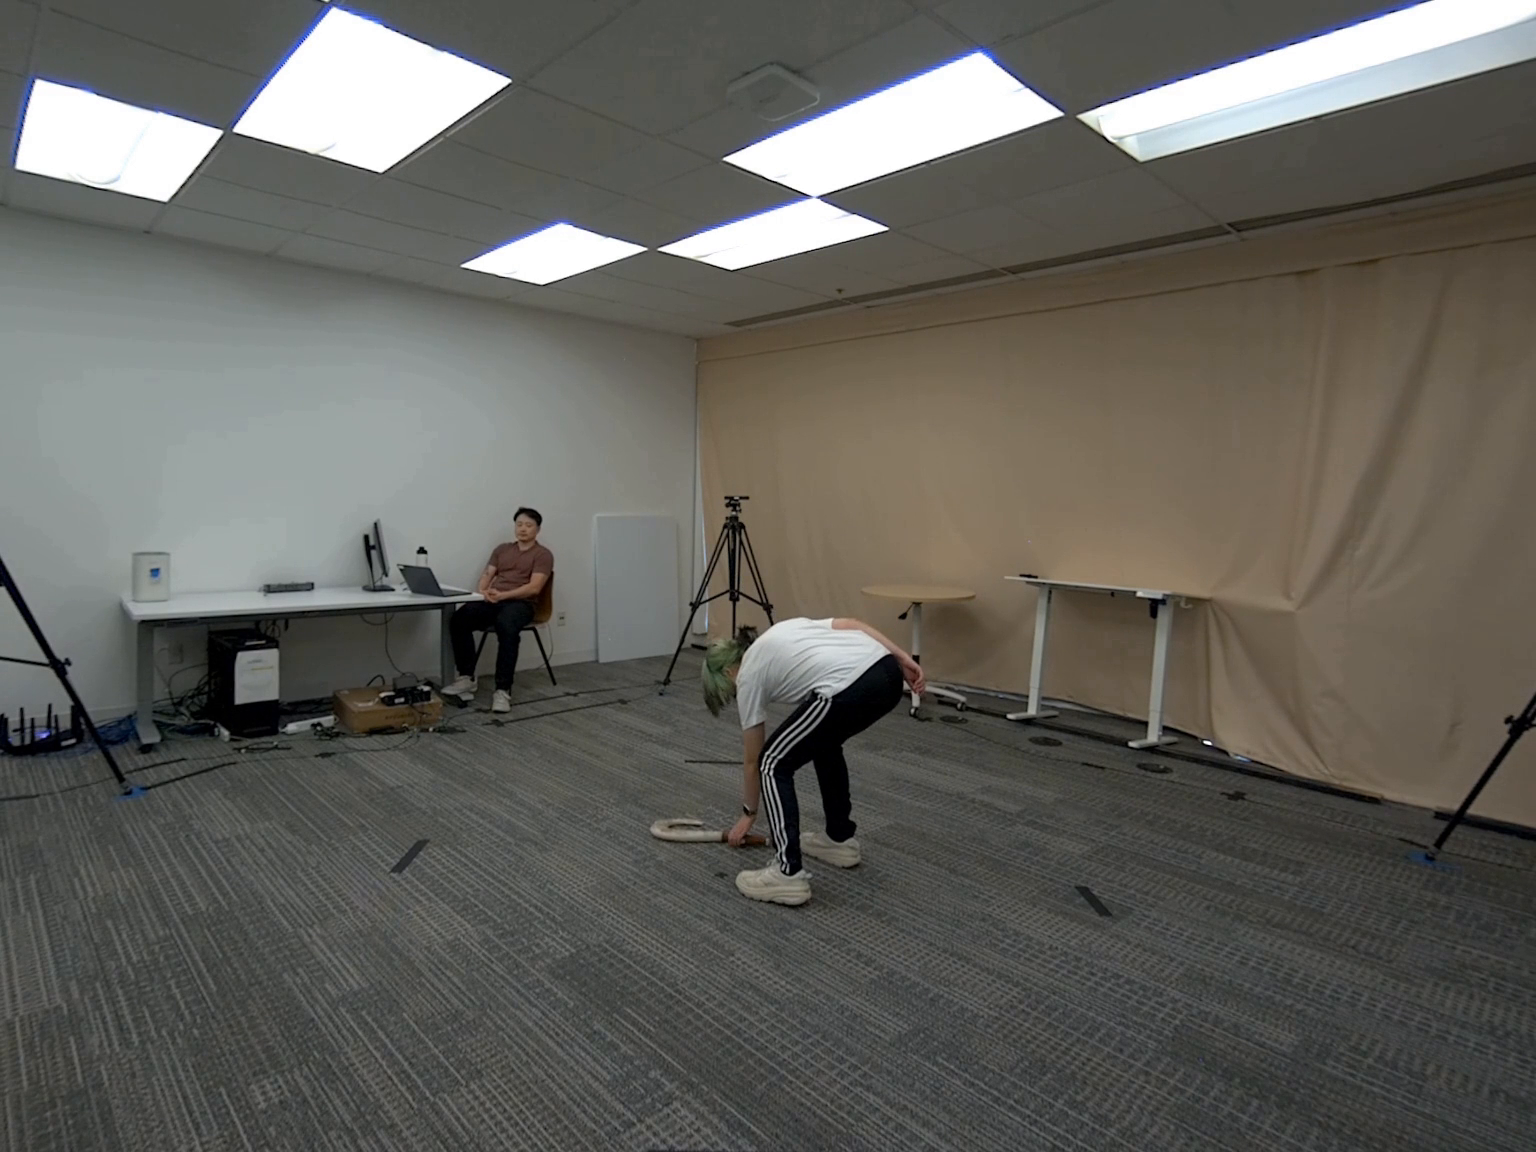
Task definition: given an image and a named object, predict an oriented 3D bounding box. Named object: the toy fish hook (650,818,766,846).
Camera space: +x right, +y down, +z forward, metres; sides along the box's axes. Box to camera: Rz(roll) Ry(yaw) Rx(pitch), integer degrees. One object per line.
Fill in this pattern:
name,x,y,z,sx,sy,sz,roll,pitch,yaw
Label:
toy fish hook,-0.235,1.049,3.464,0.511,0.048,0.223,2,7,10
